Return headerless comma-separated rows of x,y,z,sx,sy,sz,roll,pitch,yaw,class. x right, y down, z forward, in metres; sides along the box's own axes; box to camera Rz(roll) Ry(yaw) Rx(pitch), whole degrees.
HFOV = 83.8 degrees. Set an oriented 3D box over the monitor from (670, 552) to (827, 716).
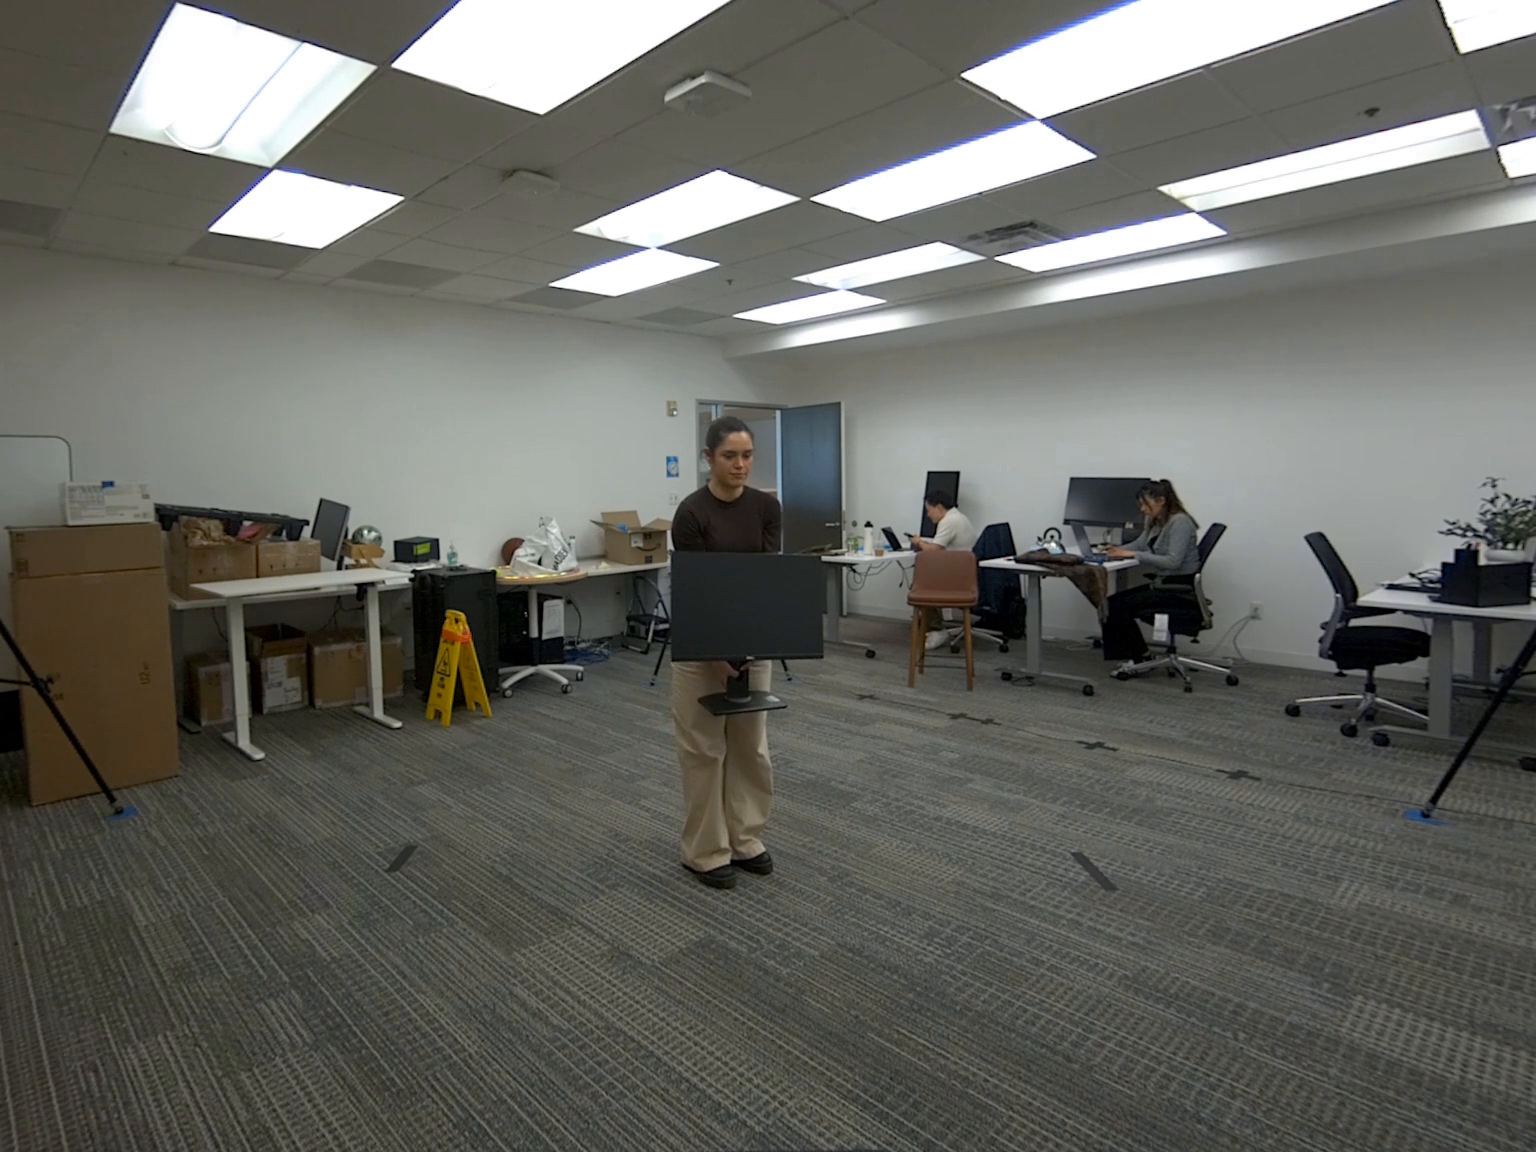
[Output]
-0.086,0.186,2.856,0.529,0.519,0.192,1,7,-21,monitor
